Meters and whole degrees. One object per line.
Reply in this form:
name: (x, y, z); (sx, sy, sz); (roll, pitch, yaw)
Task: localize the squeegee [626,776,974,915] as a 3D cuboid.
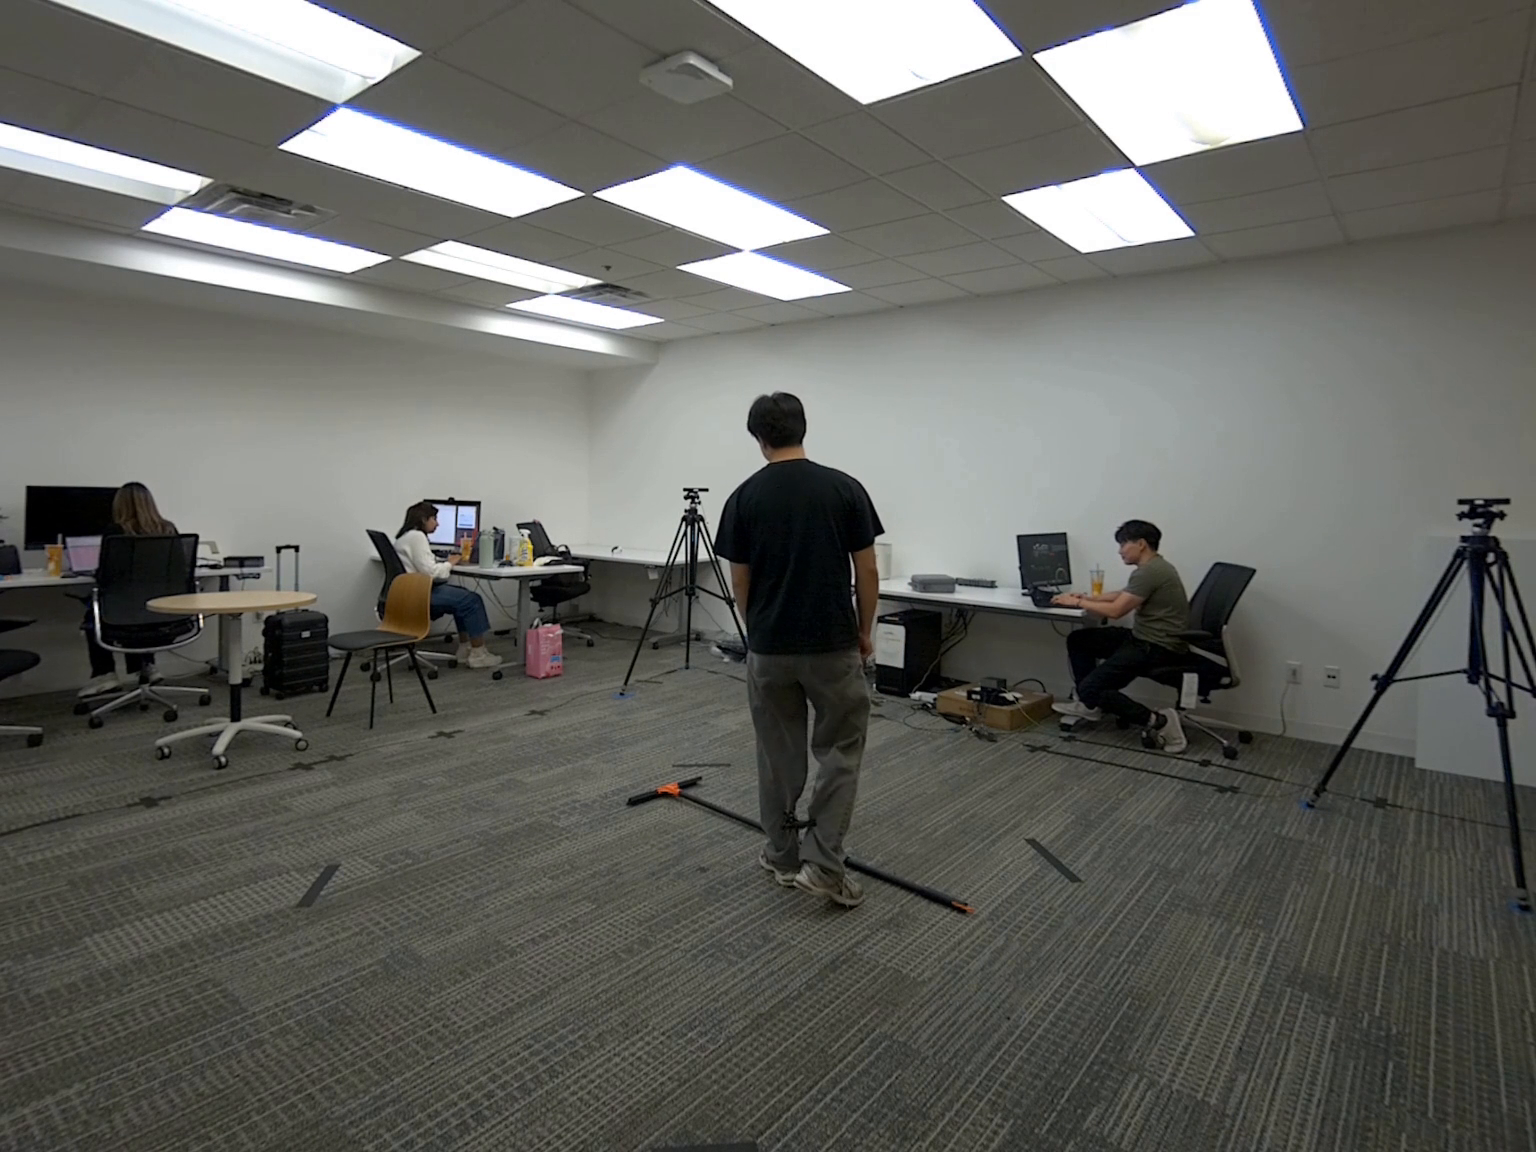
squeegee: (0.081, 1.015, 3.342); (1.592, 0.052, 0.425); (8, 10, 43)
